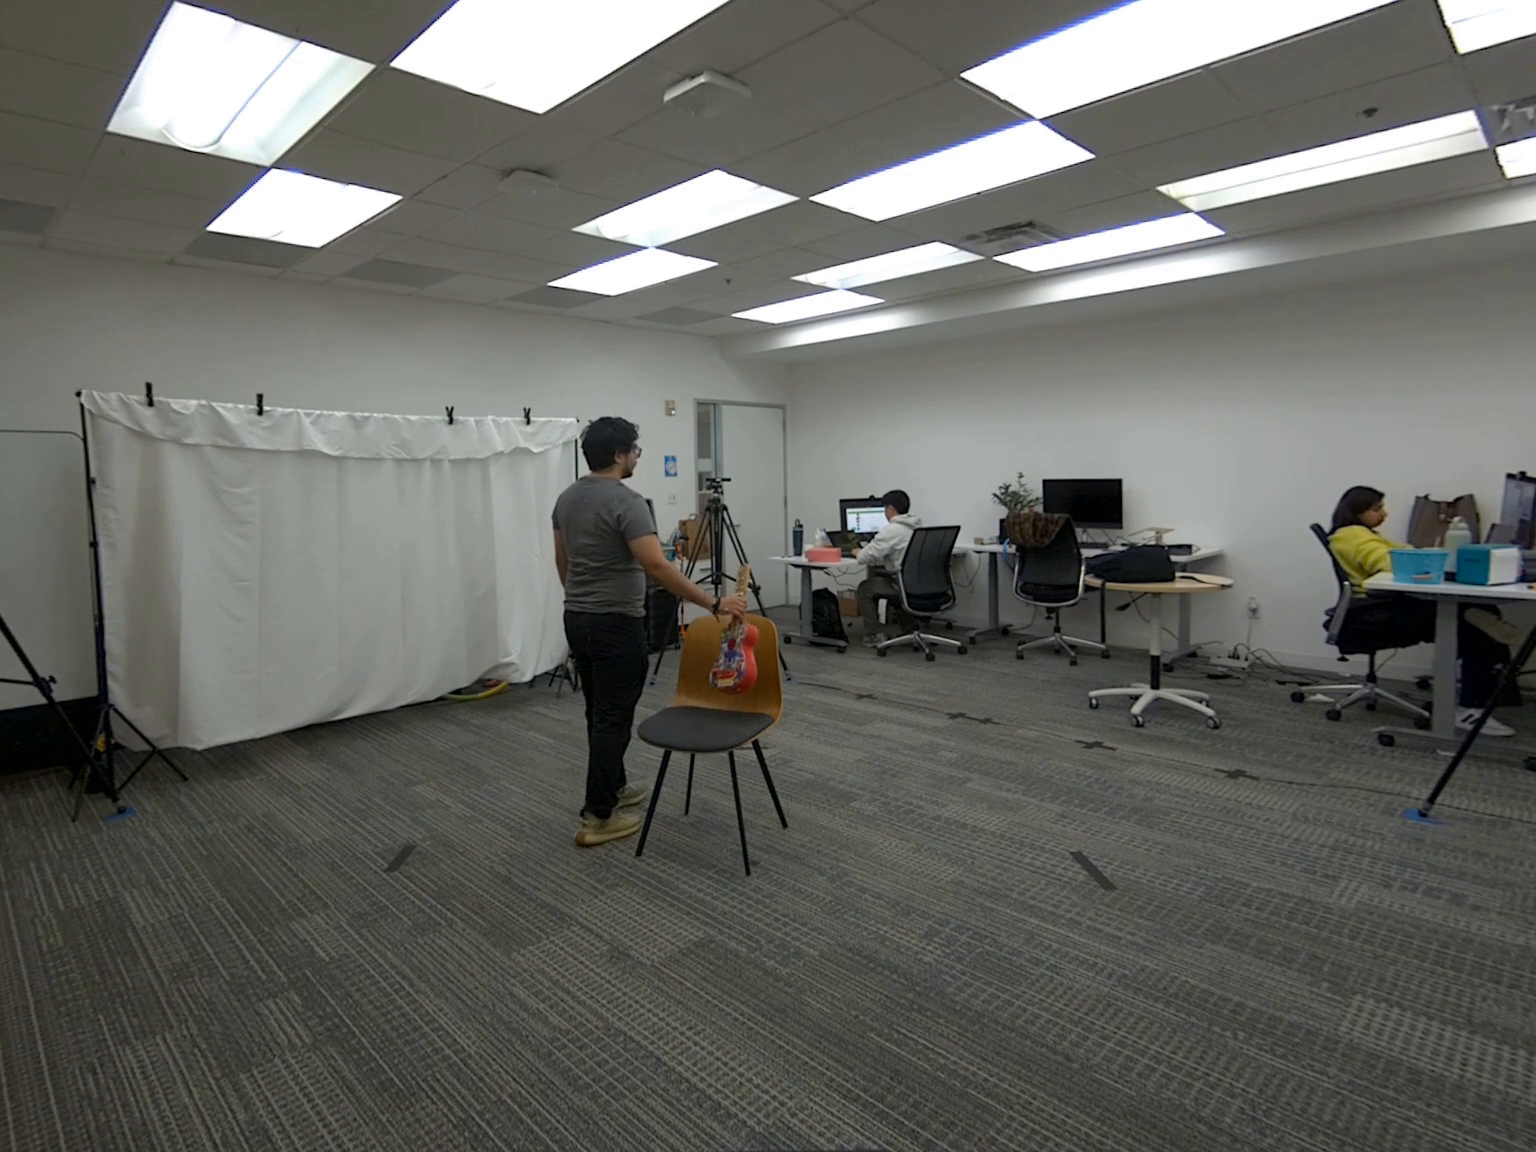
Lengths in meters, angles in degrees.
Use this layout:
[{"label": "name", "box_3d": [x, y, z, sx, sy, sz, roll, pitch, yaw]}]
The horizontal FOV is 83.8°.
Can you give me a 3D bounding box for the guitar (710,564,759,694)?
[{"label": "guitar", "box_3d": [-0.085, 0.186, 3.198, 0.198, 0.503, 0.068, -6, -26, 46]}]
